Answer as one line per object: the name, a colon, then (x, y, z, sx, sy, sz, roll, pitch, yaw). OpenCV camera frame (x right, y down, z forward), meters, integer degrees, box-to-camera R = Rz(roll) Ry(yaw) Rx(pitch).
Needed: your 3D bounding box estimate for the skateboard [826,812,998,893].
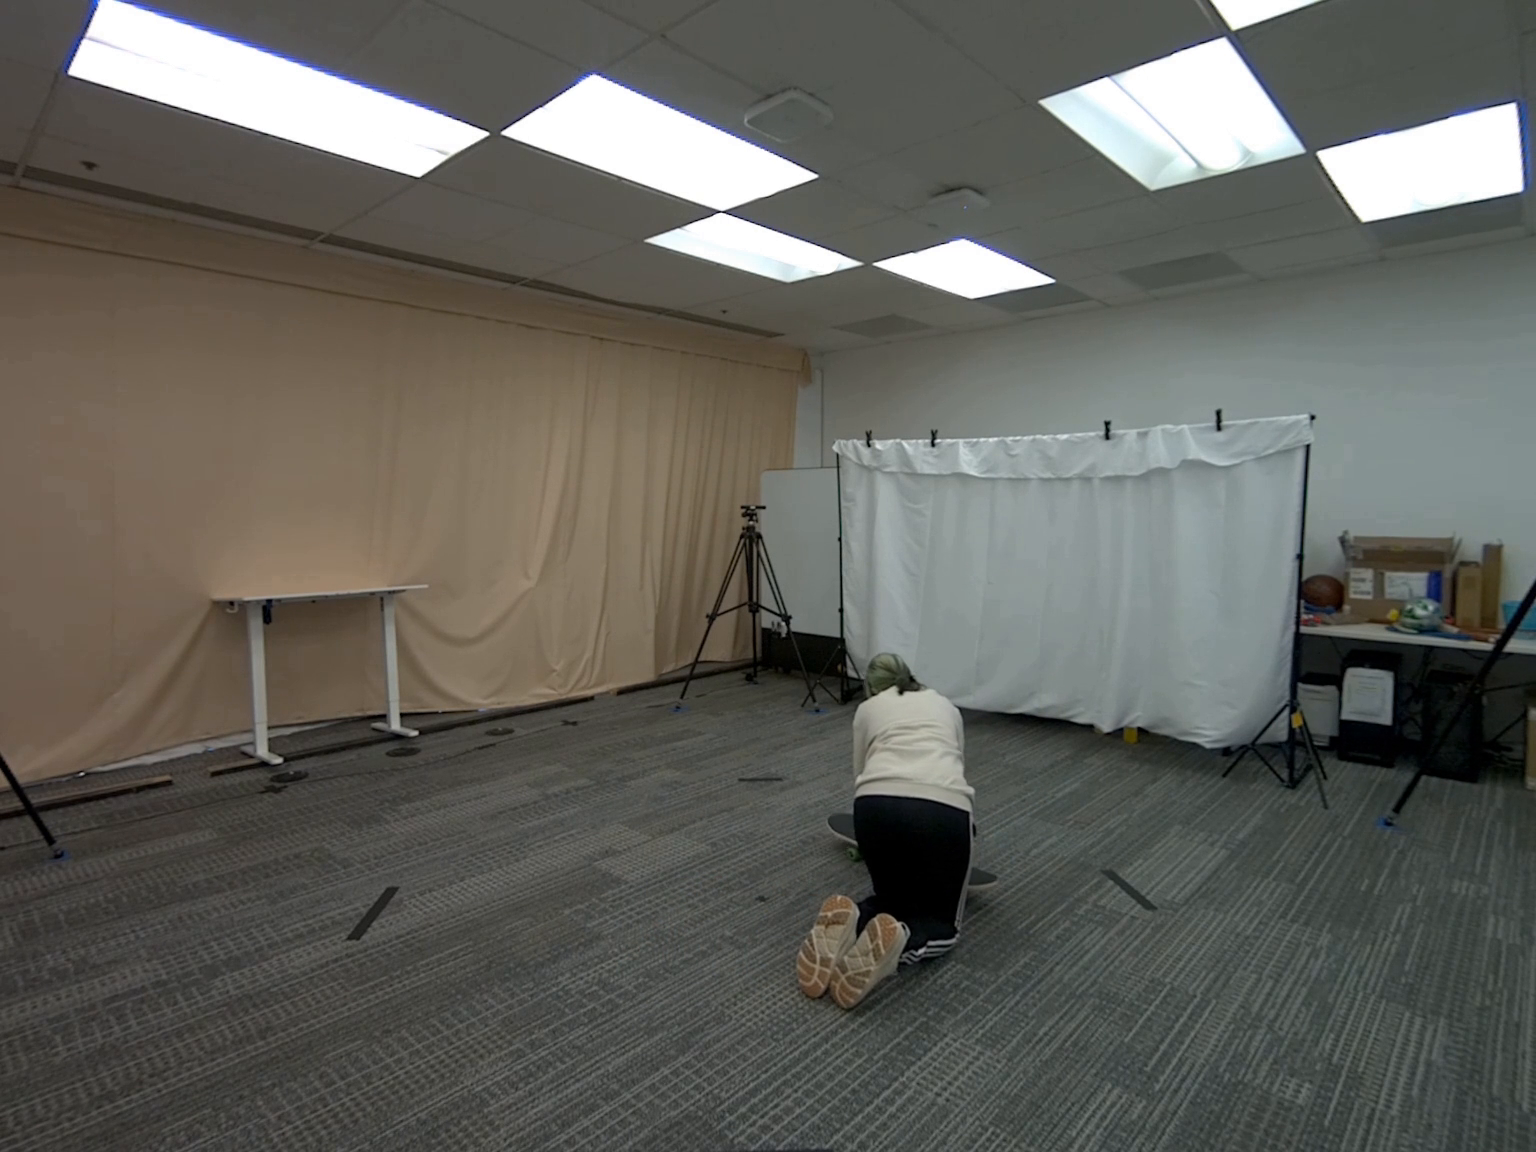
skateboard: (0.522, 1.067, 3.181, 0.188, 0.110, 0.811, -3, 5, -36)
